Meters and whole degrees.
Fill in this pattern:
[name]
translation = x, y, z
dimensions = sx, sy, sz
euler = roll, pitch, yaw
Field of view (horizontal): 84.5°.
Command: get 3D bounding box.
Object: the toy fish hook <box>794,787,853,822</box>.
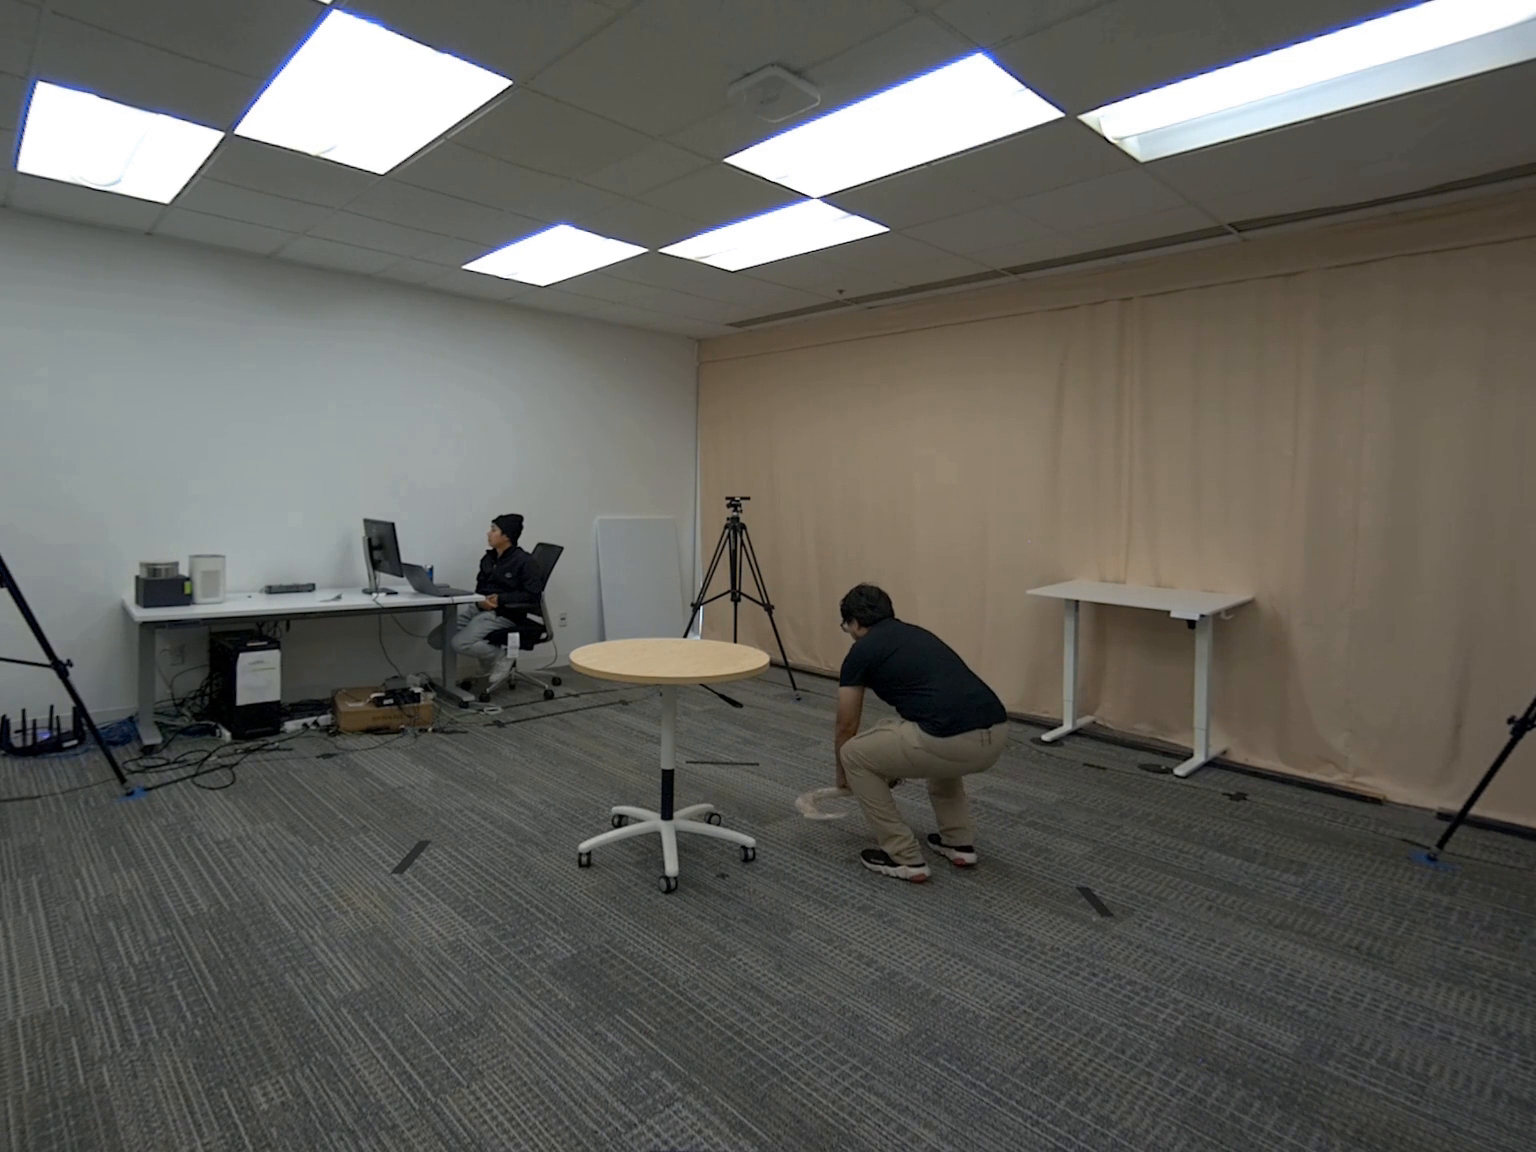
[toy fish hook]
translation = 0.364, 0.928, 3.460
dimensions = 0.500, 0.048, 0.230
euler = -9, 20, -21
